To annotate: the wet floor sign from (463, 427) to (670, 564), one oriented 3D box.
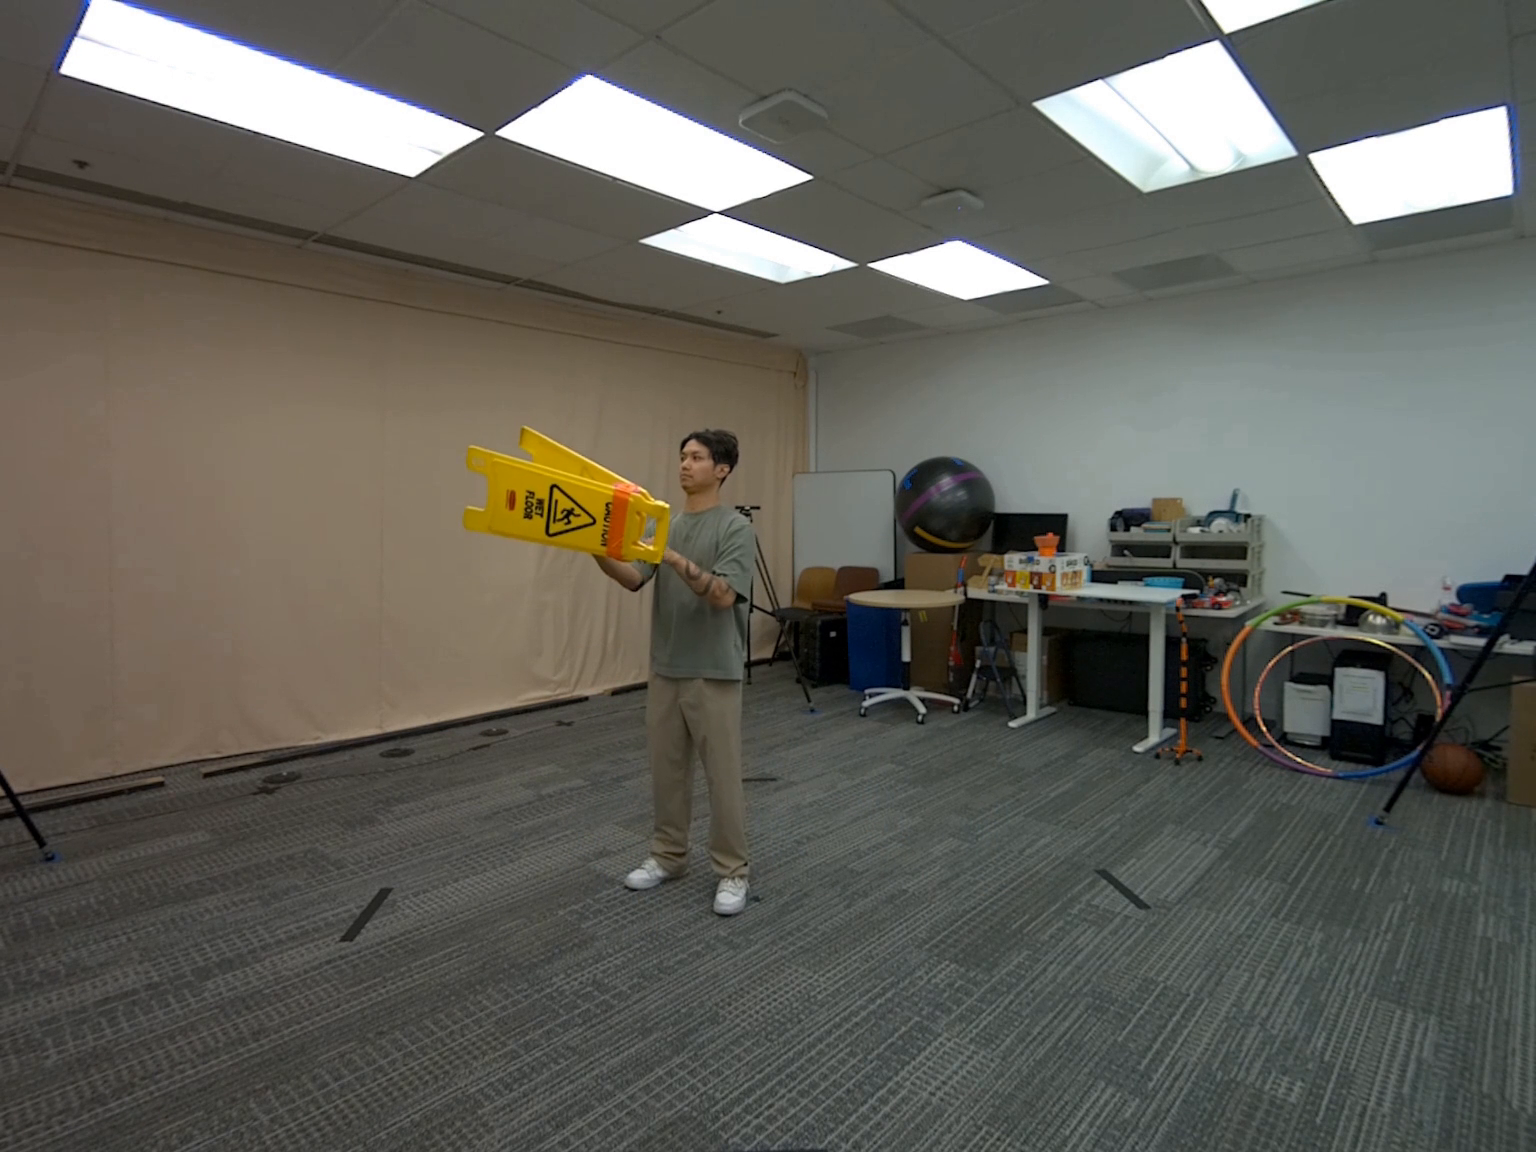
[{"bbox_3d":[-0.606,-0.230,2.663,0.659,0.279,0.286,19,26,17],"label":"wet floor sign"}]
